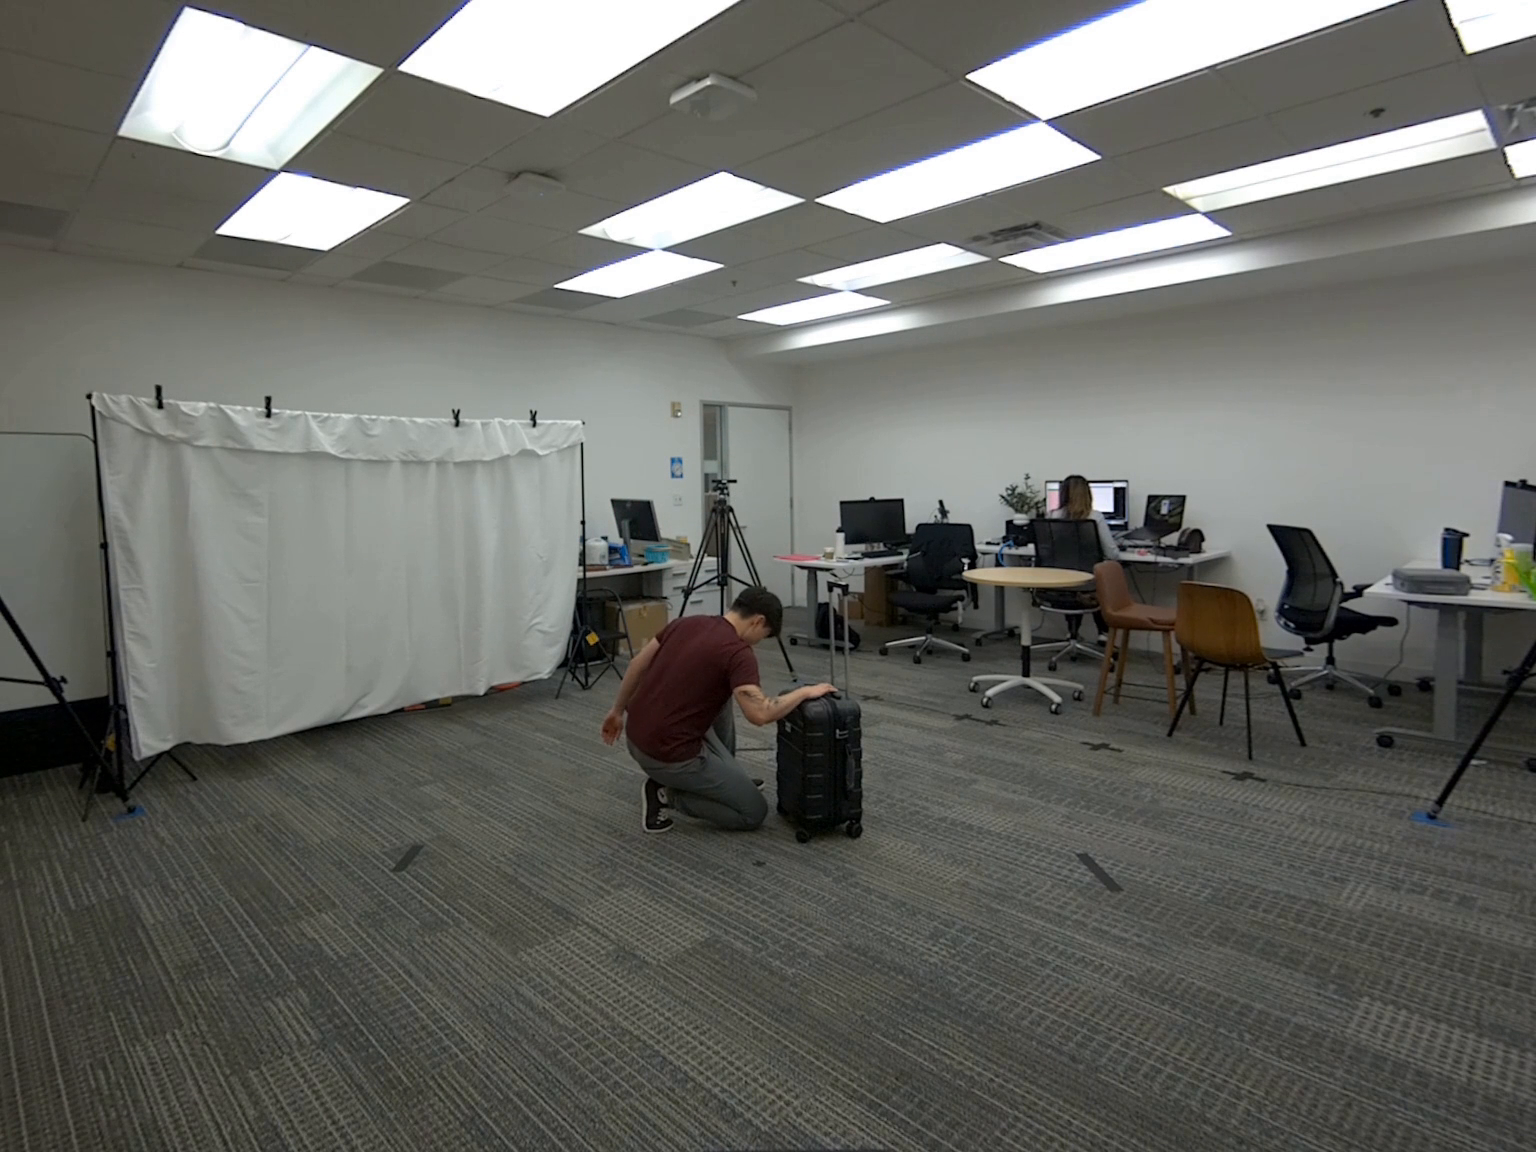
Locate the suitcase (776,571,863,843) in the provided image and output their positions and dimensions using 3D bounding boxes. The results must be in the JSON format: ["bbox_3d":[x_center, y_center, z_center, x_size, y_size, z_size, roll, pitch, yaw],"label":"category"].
[{"bbox_3d":[0.196,0.527,3.424,0.253,0.976,0.390,-2,3,-16],"label":"suitcase"}]
